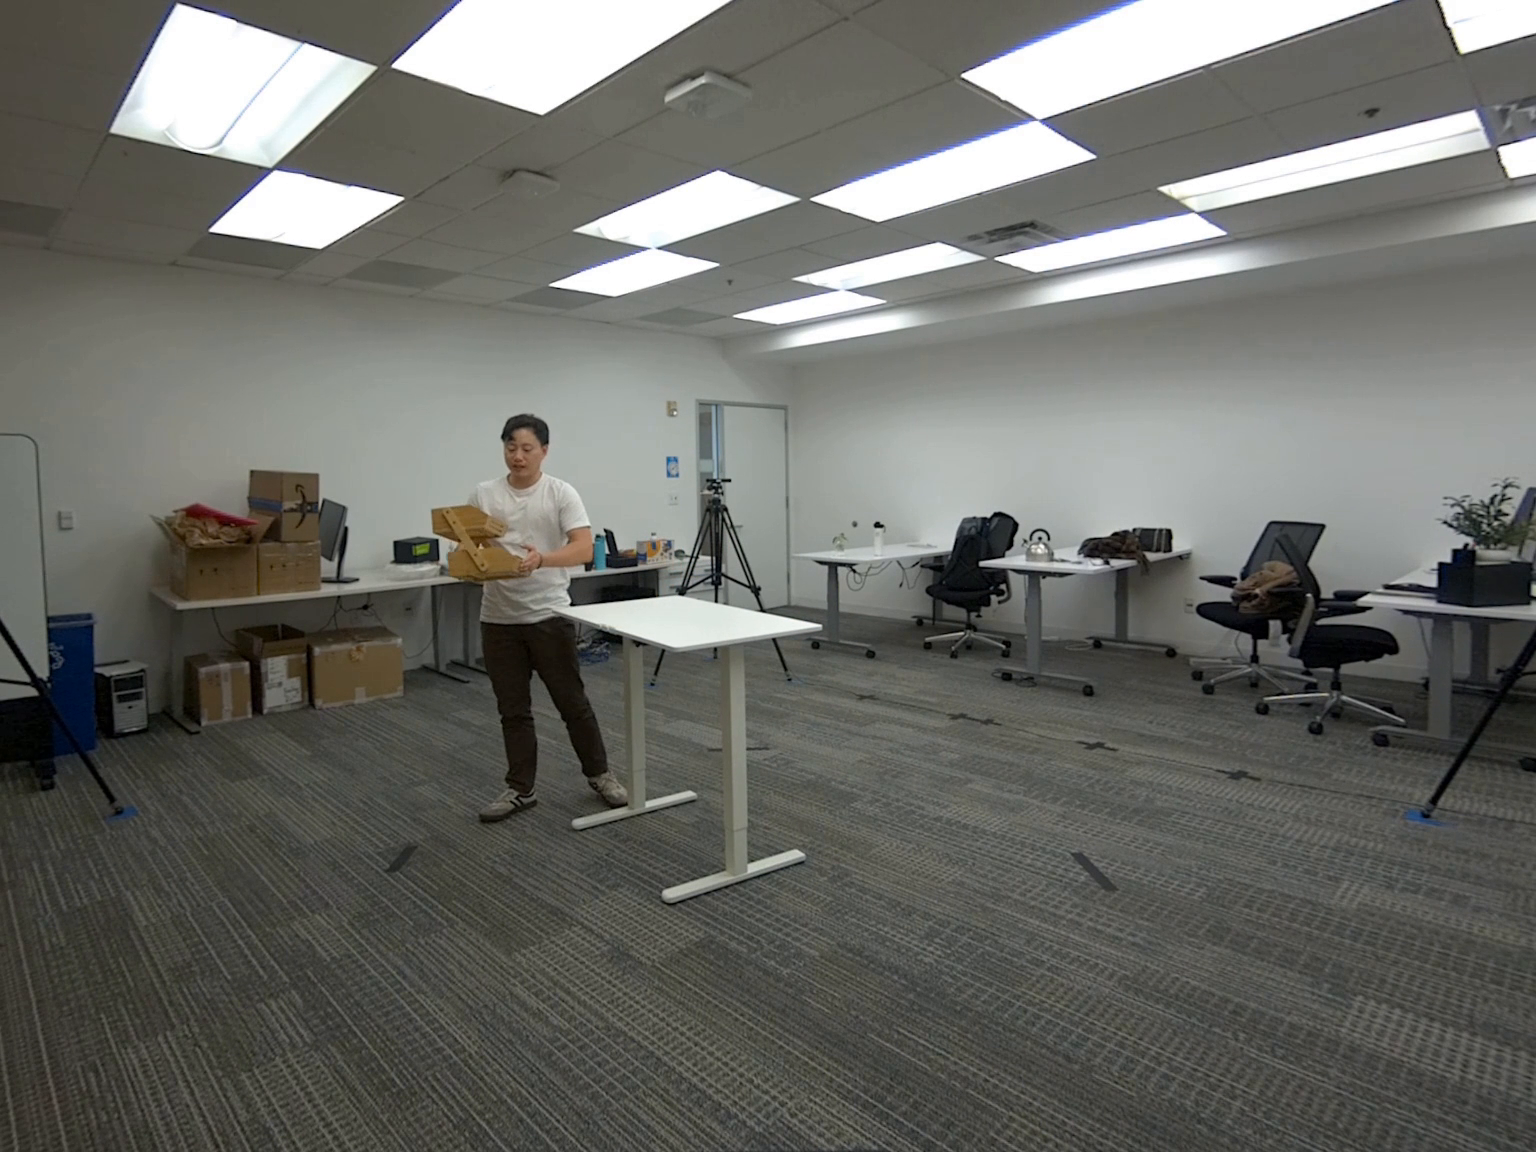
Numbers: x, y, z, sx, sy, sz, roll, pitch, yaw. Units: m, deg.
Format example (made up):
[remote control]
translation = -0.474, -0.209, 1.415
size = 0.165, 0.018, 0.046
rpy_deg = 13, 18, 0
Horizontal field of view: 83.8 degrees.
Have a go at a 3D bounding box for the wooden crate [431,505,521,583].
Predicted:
[wooden crate]
translation = -1.102, -0.124, 3.297
size = 0.301, 0.275, 0.323
rpy_deg = -6, -6, -4
